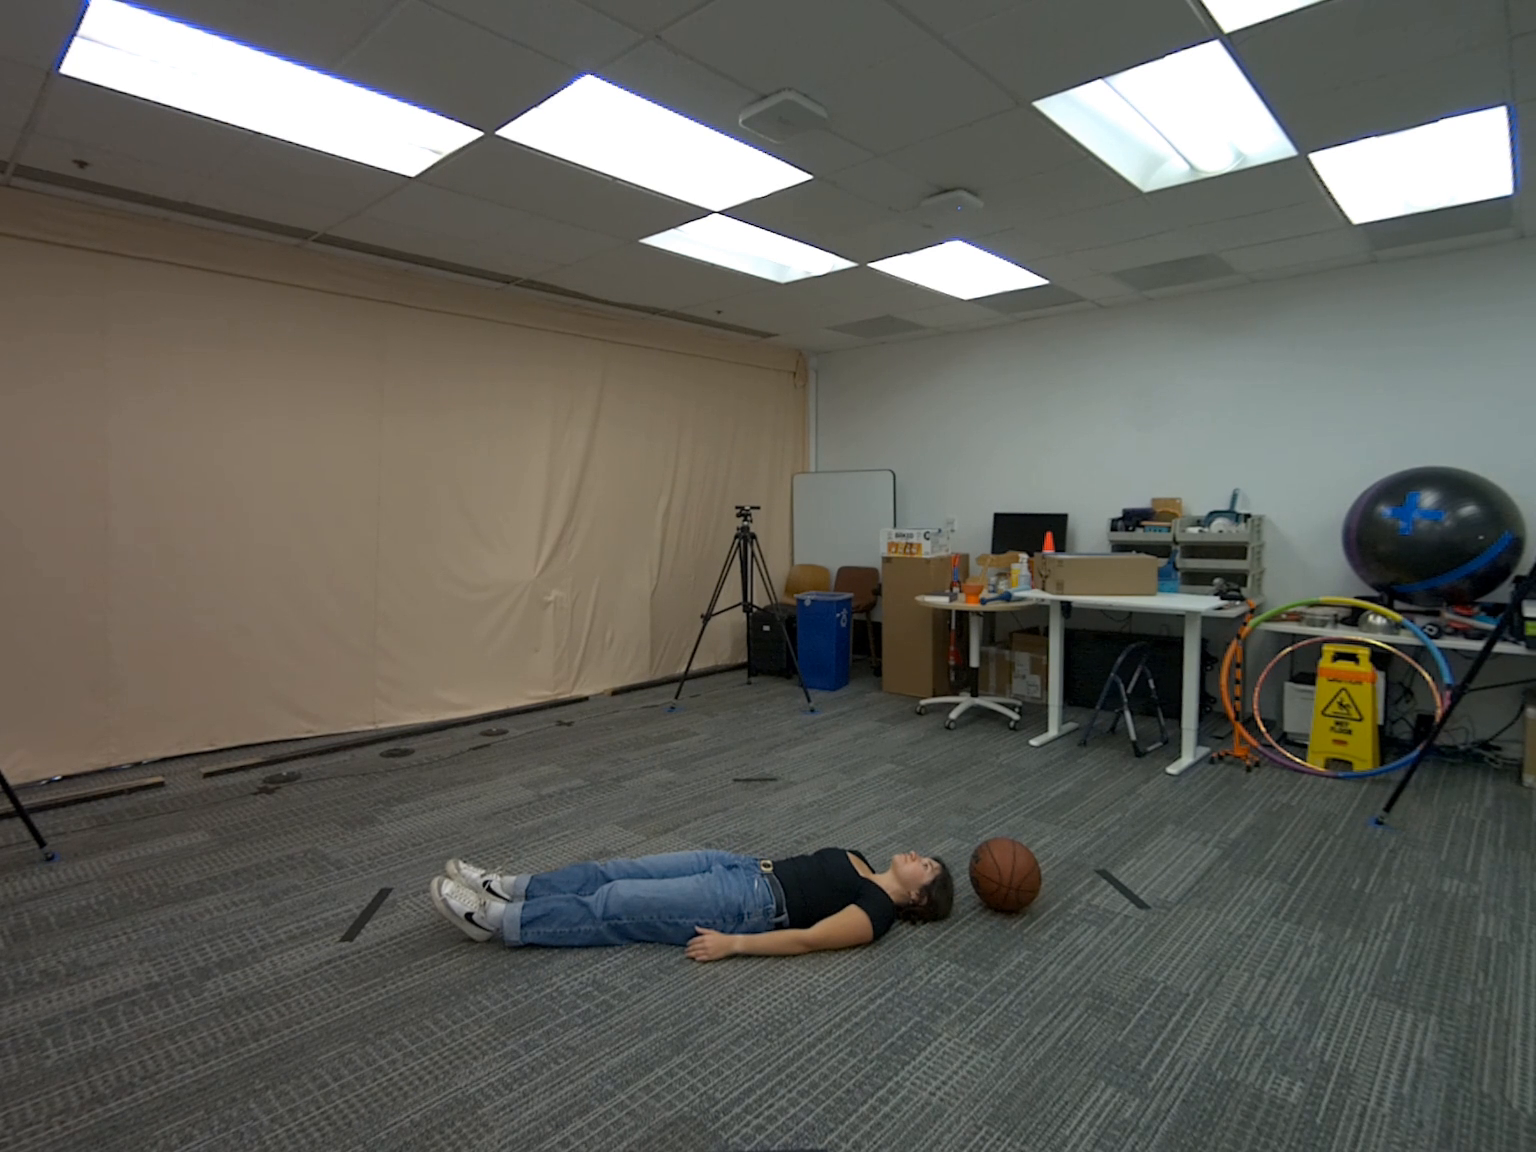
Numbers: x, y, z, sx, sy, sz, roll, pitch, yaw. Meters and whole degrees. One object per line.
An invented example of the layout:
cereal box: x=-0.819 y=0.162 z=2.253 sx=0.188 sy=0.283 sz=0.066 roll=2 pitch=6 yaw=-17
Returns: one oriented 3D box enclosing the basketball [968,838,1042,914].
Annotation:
basketball: x=0.830 y=1.032 z=2.908 sx=0.236 sy=0.235 sz=0.237 roll=0 pitch=4 yaw=-2
